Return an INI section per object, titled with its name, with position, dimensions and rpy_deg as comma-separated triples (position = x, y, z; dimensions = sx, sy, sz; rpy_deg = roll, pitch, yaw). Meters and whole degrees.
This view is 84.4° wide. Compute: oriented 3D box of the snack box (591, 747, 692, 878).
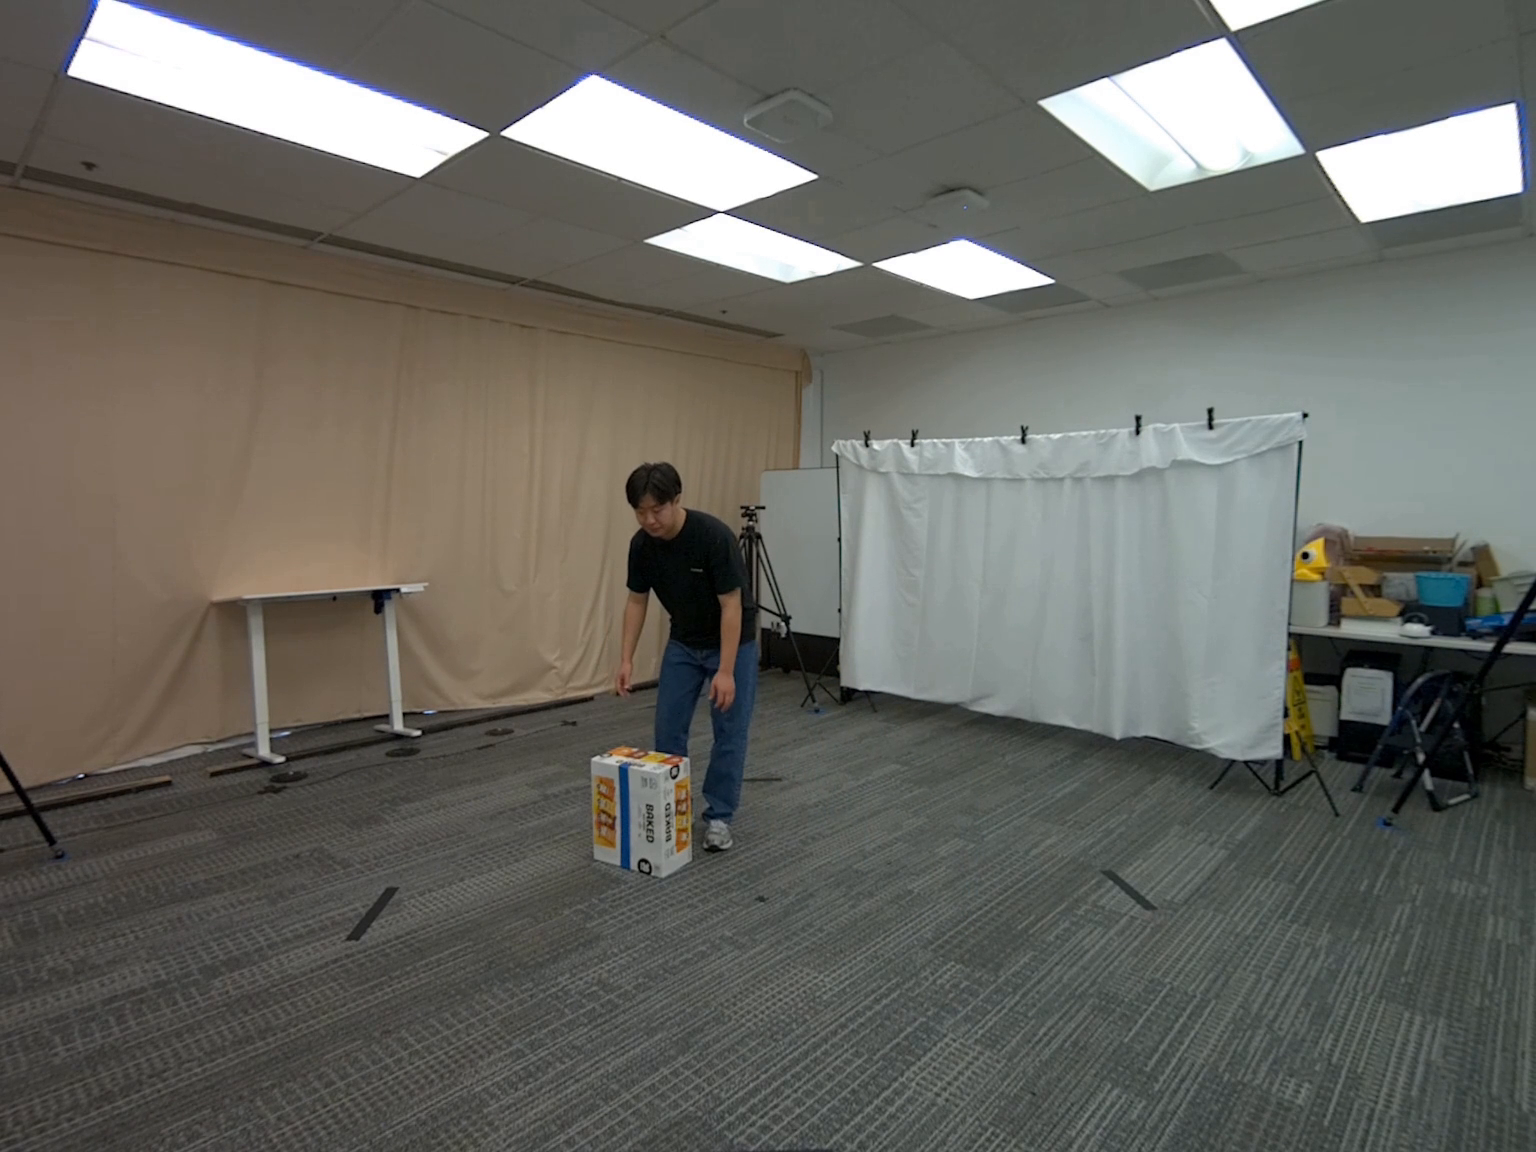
[snack box]
position = -0.492, 0.915, 3.315
dimensions = 0.350, 0.404, 0.200
rpy_deg = 1, 4, 31
